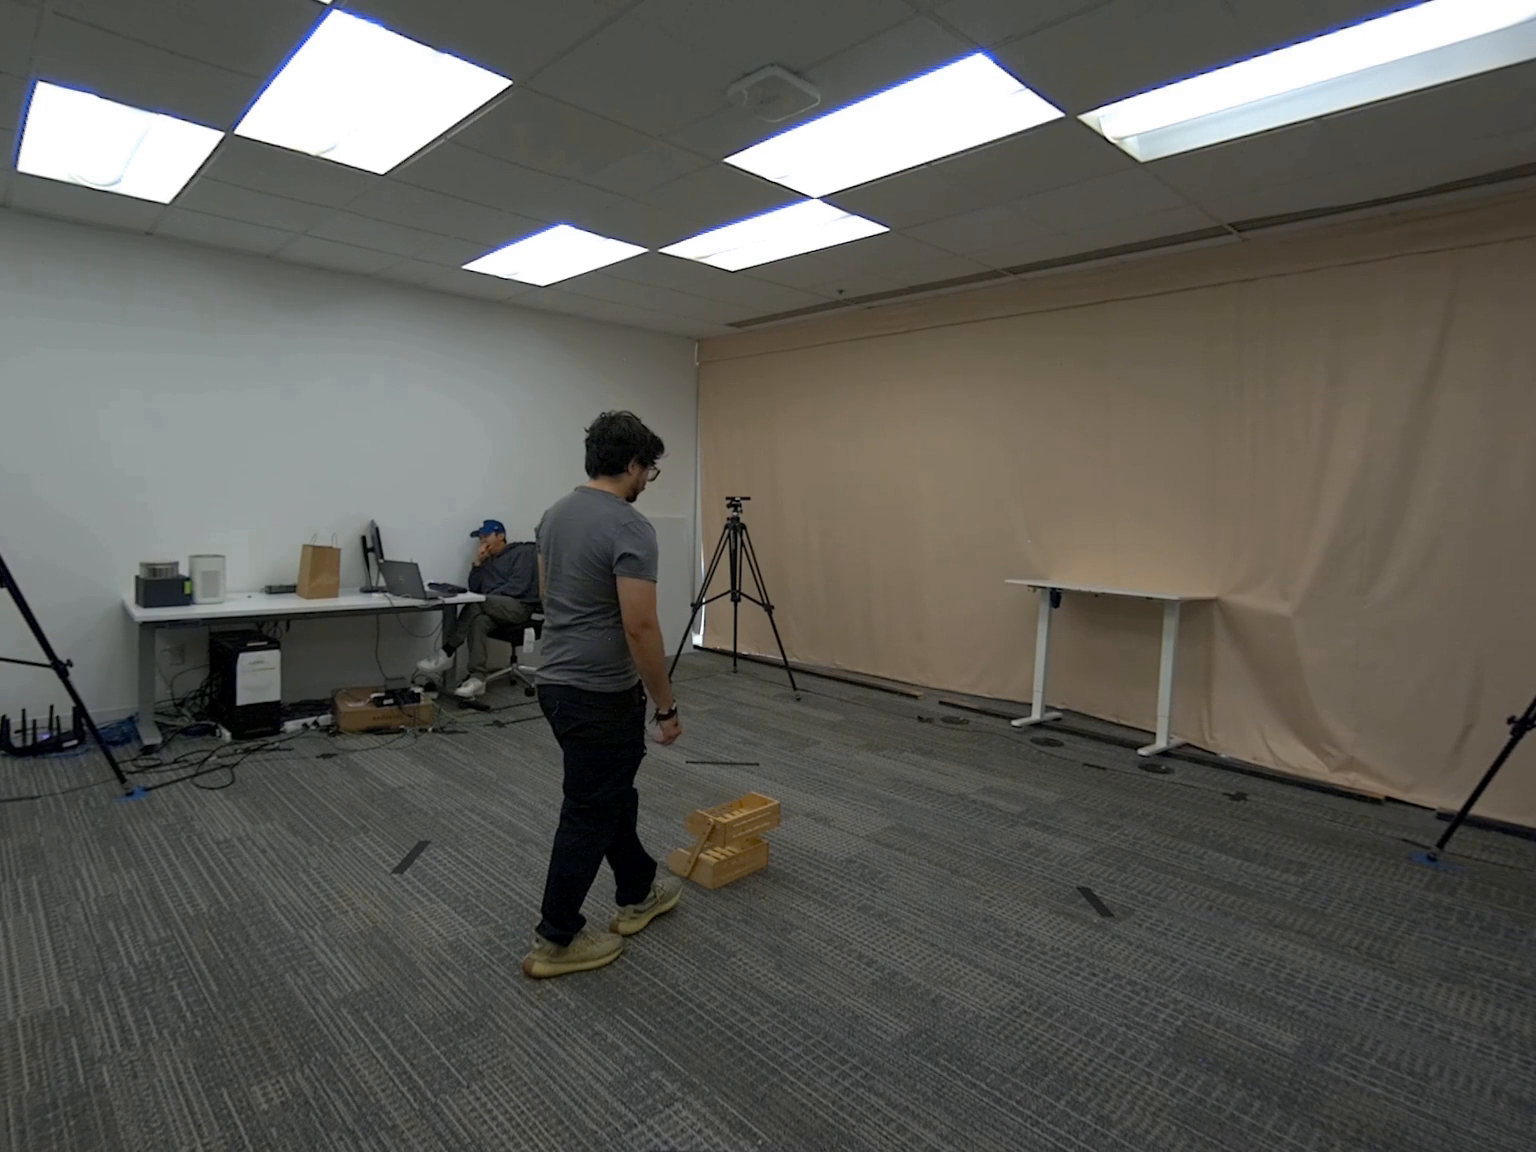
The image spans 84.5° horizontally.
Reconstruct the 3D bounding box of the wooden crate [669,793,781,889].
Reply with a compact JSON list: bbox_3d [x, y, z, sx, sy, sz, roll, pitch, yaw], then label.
[{"bbox_3d":[-0.177,0.968,3.154,0.310,0.272,0.317,6,6,43],"label":"wooden crate"}]
